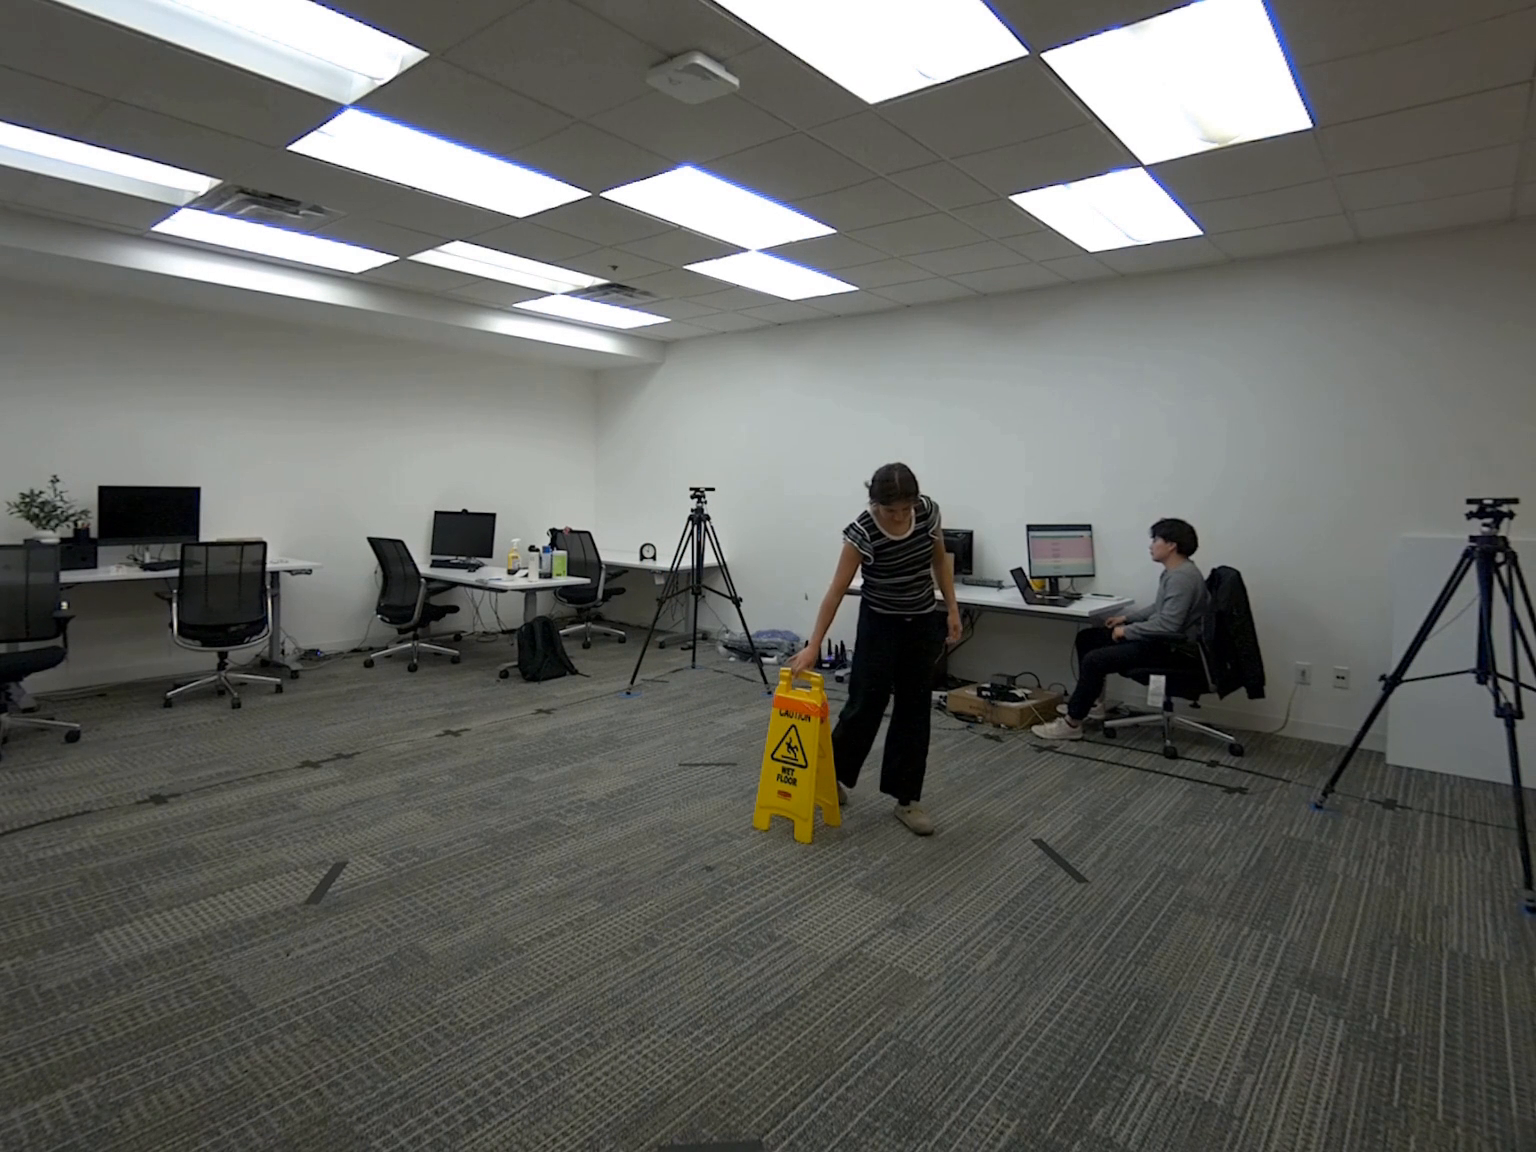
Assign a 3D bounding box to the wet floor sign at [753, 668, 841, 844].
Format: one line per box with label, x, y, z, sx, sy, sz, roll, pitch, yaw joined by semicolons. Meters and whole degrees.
wet floor sign;0.121;0.708;3.514;0.291;0.645;0.281;4;3;36
